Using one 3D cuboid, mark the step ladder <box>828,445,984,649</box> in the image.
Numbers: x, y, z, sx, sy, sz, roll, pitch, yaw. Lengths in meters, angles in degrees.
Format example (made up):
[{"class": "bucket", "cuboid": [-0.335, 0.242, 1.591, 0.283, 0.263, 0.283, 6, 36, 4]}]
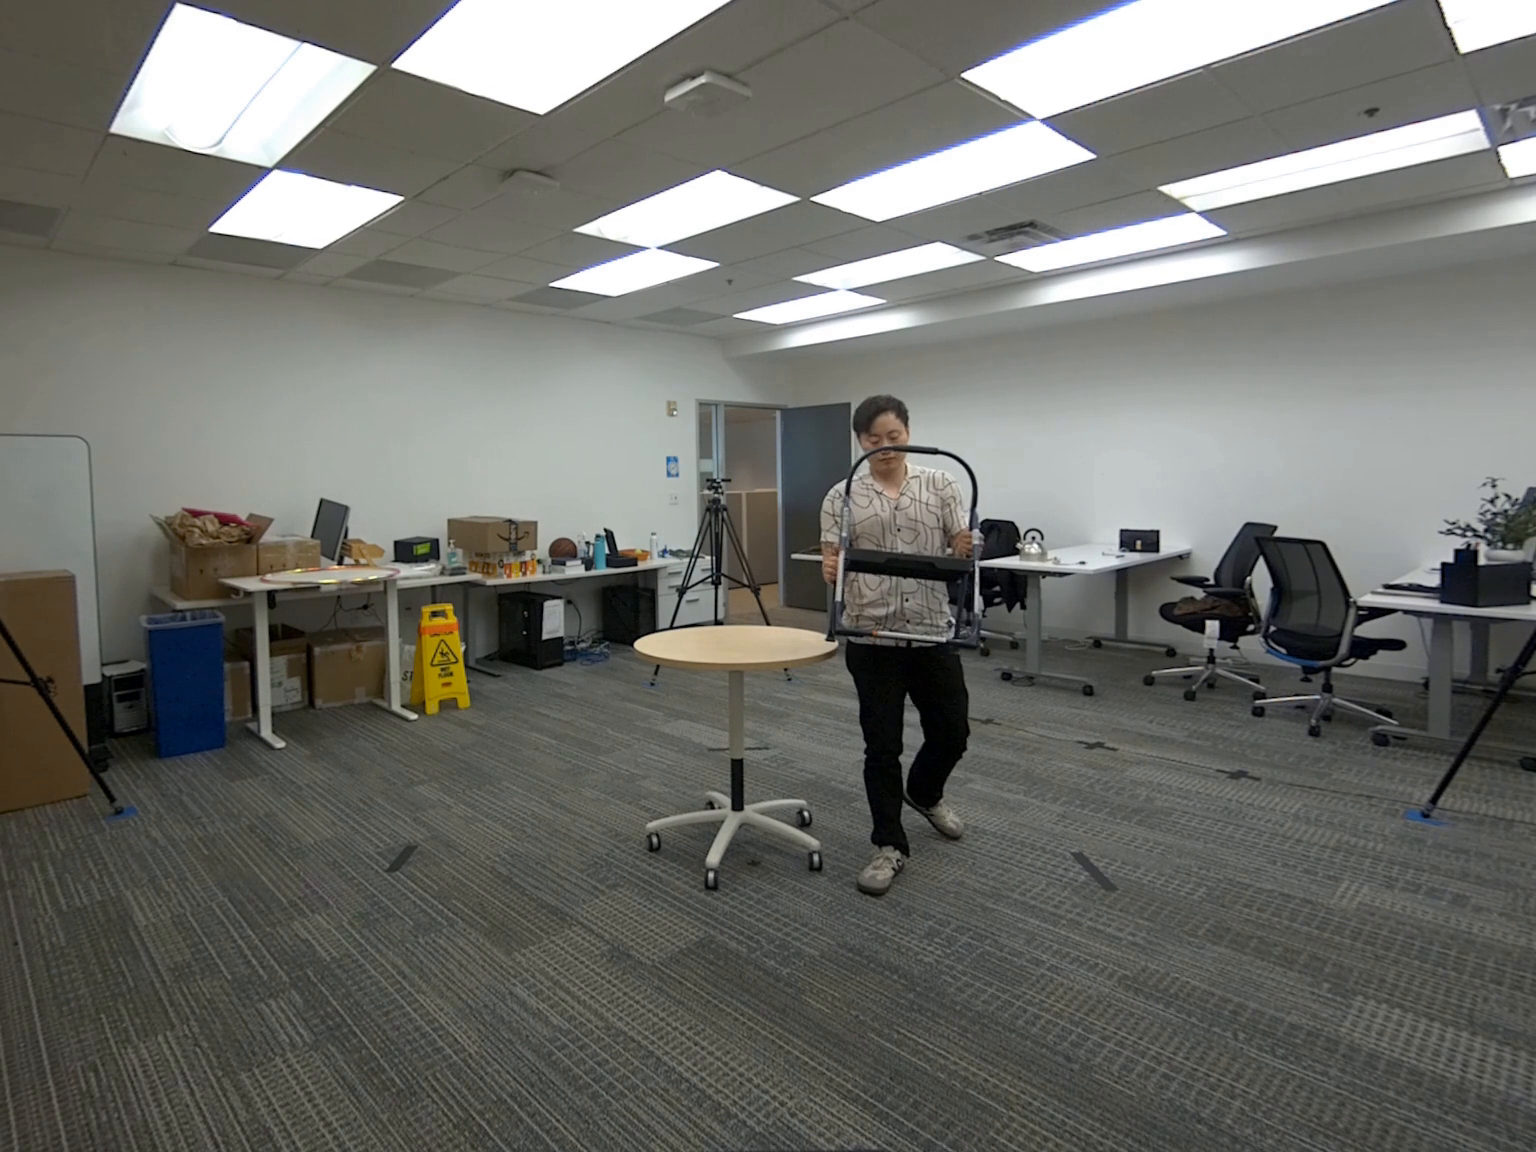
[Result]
[{"class": "step ladder", "cuboid": [0.436, -0.076, 2.643, 0.433, 0.610, 0.345, 4, -8, 4]}]
